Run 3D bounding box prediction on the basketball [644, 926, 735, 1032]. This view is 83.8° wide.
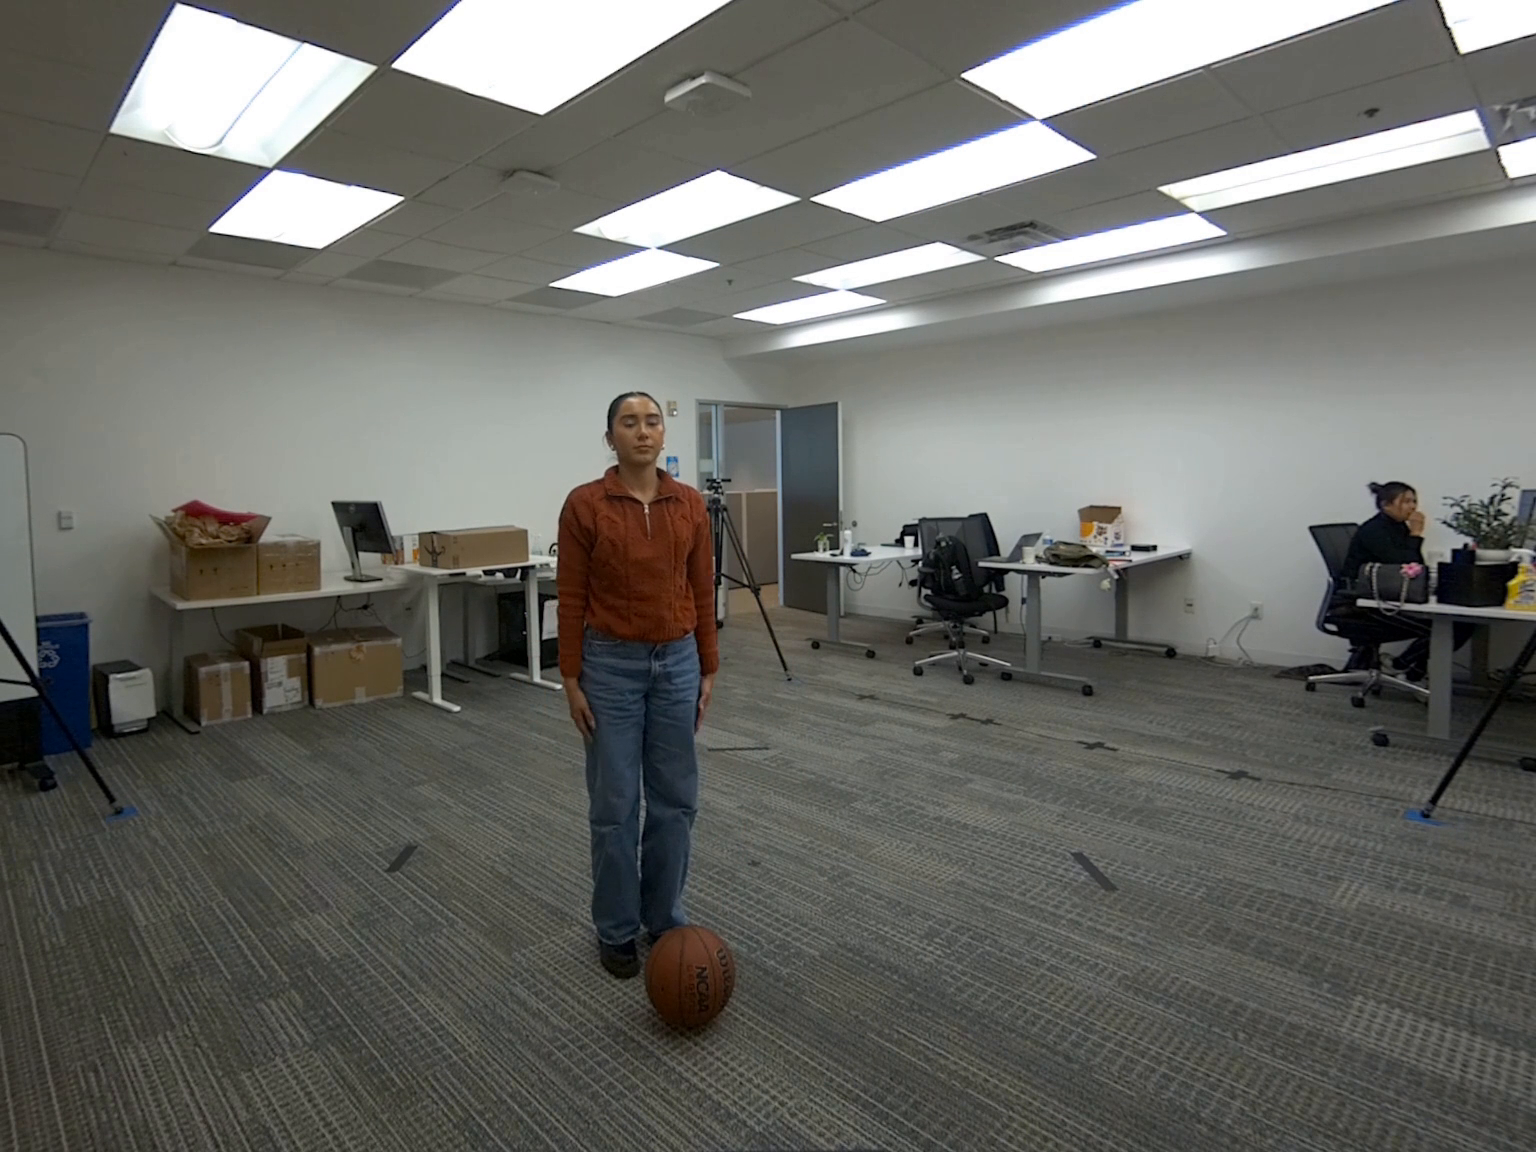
[{"bbox_3d":[-0.198,1.030,2.223,0.236,0.235,0.237,-1,5,-2],"label":"basketball"}]
